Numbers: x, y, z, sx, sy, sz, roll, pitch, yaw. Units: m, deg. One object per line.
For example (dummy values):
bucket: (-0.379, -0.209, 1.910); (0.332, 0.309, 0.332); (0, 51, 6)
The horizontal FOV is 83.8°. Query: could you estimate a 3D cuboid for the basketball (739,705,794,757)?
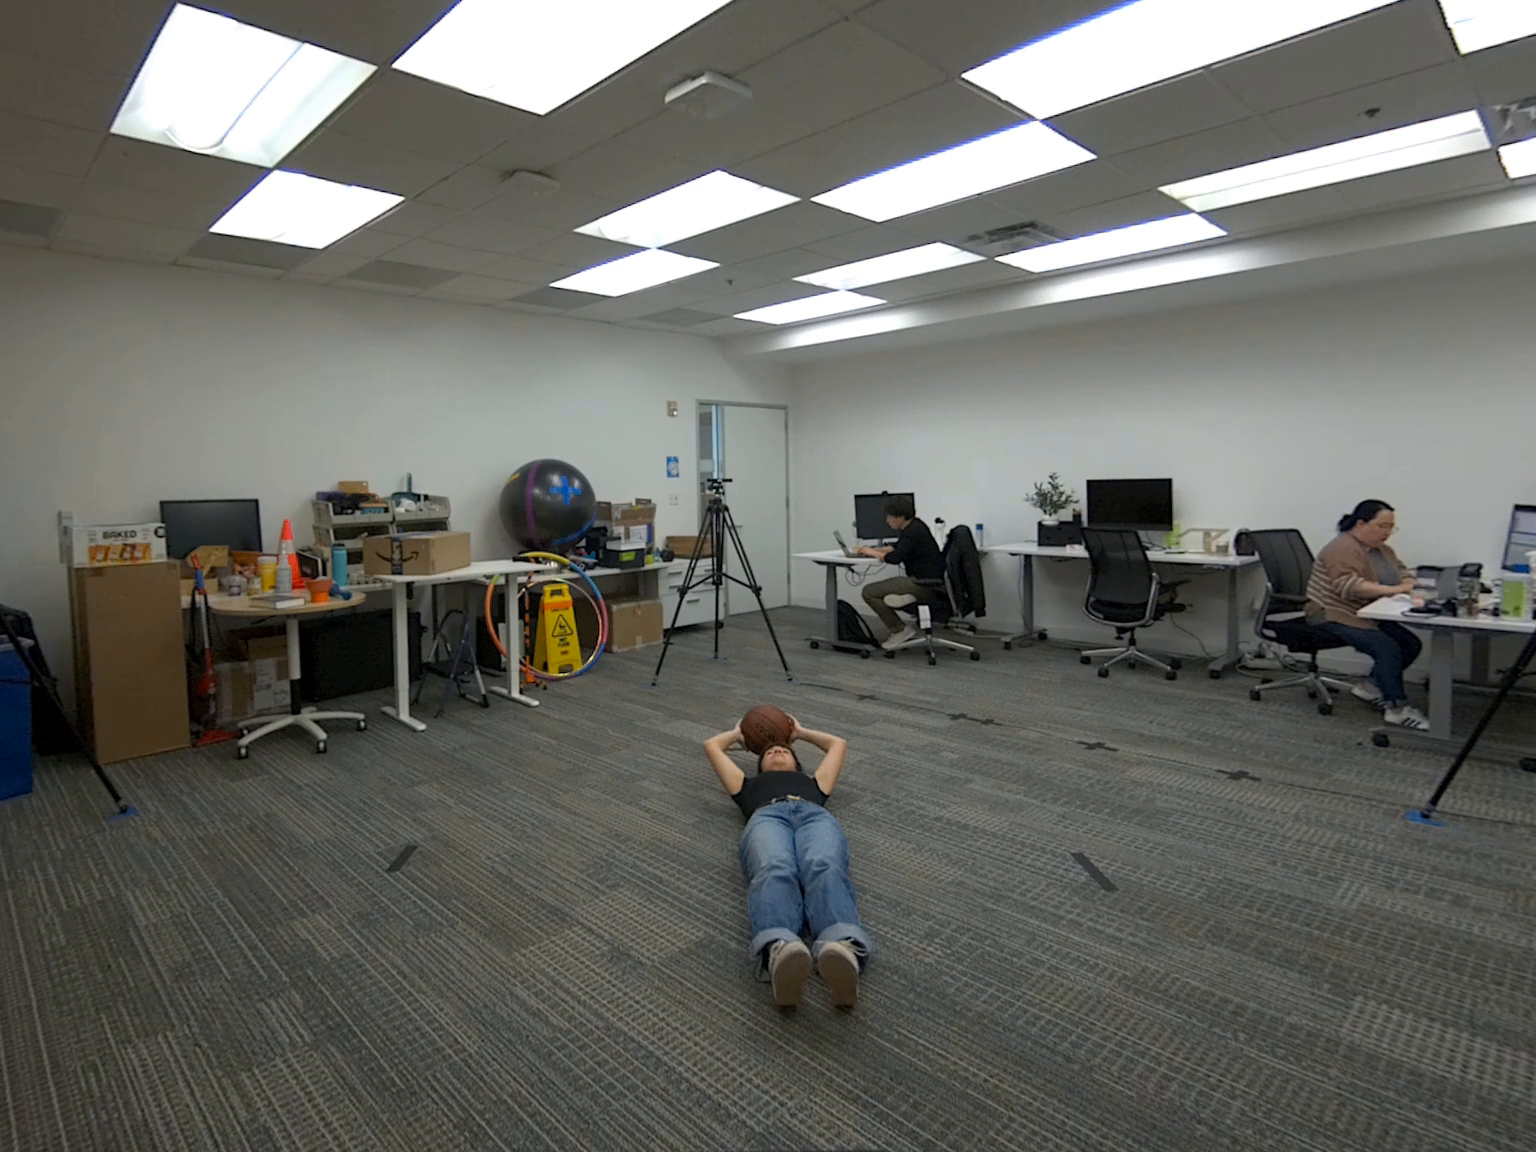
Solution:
basketball: (-0.010, 0.718, 4.008); (0.236, 0.235, 0.237); (-1, 5, -2)
